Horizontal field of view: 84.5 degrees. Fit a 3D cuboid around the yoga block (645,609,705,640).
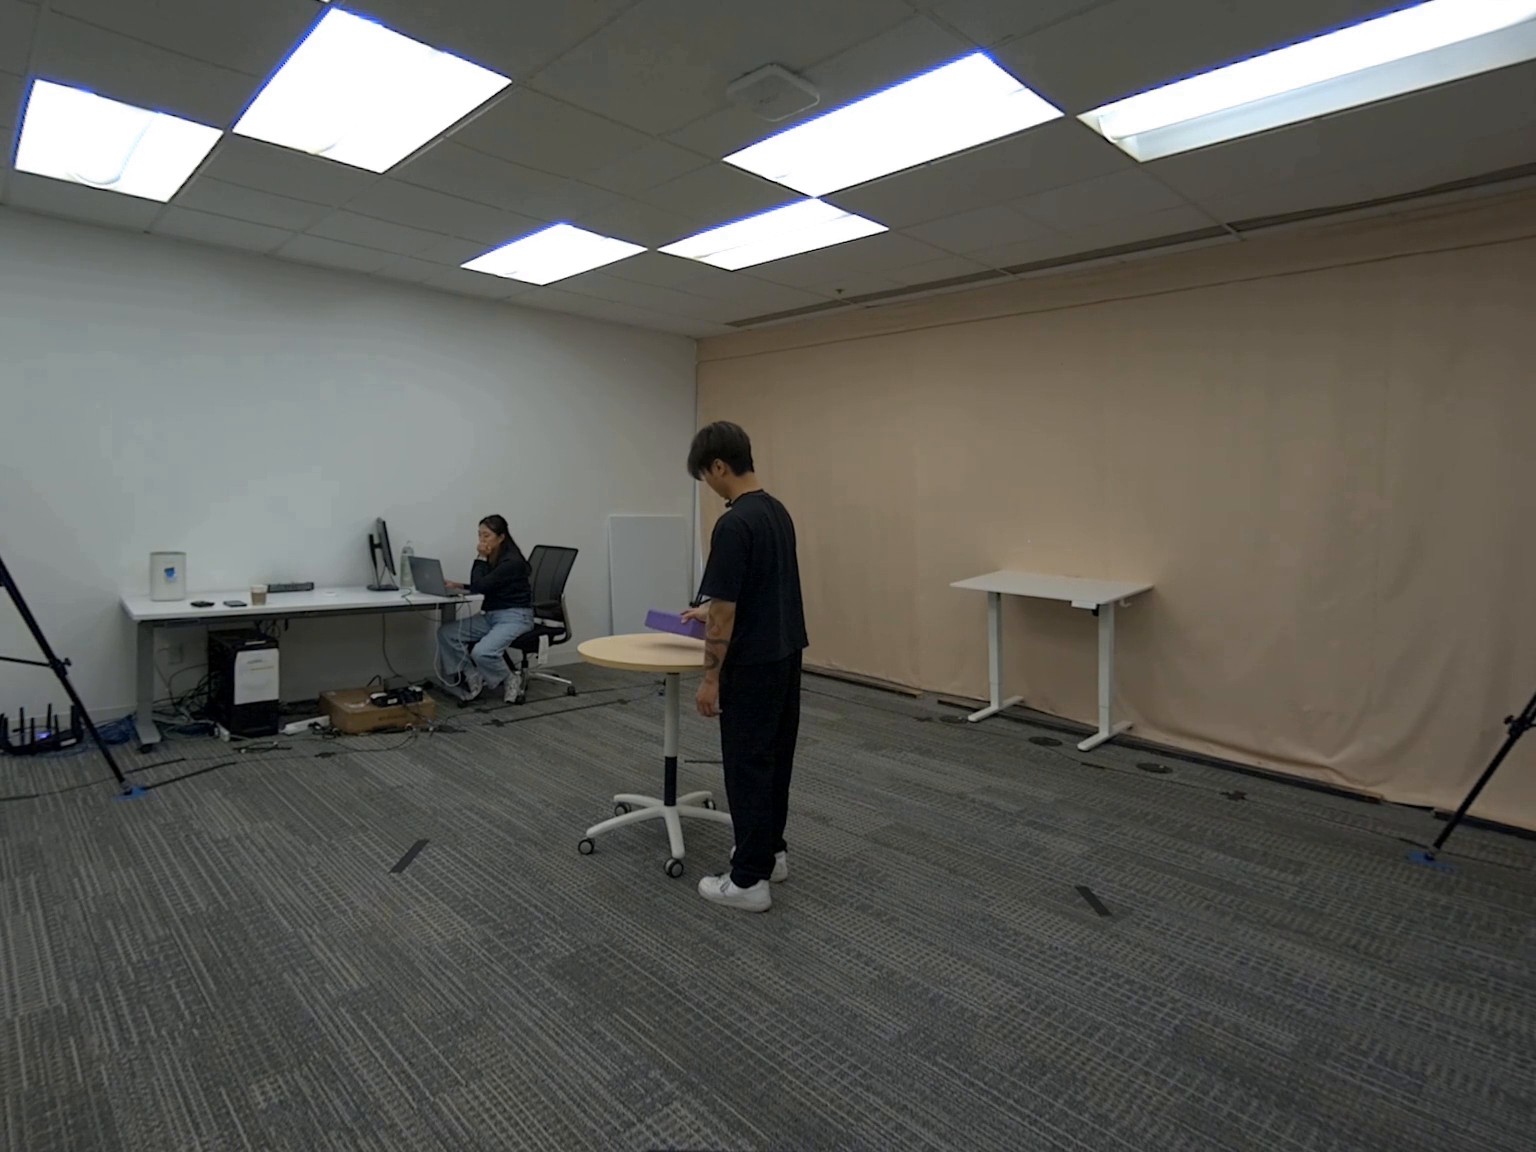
[{"bbox_3d":[-0.370,0.196,3.407,0.234,0.076,0.146,10,-4,23],"label":"yoga block"}]
